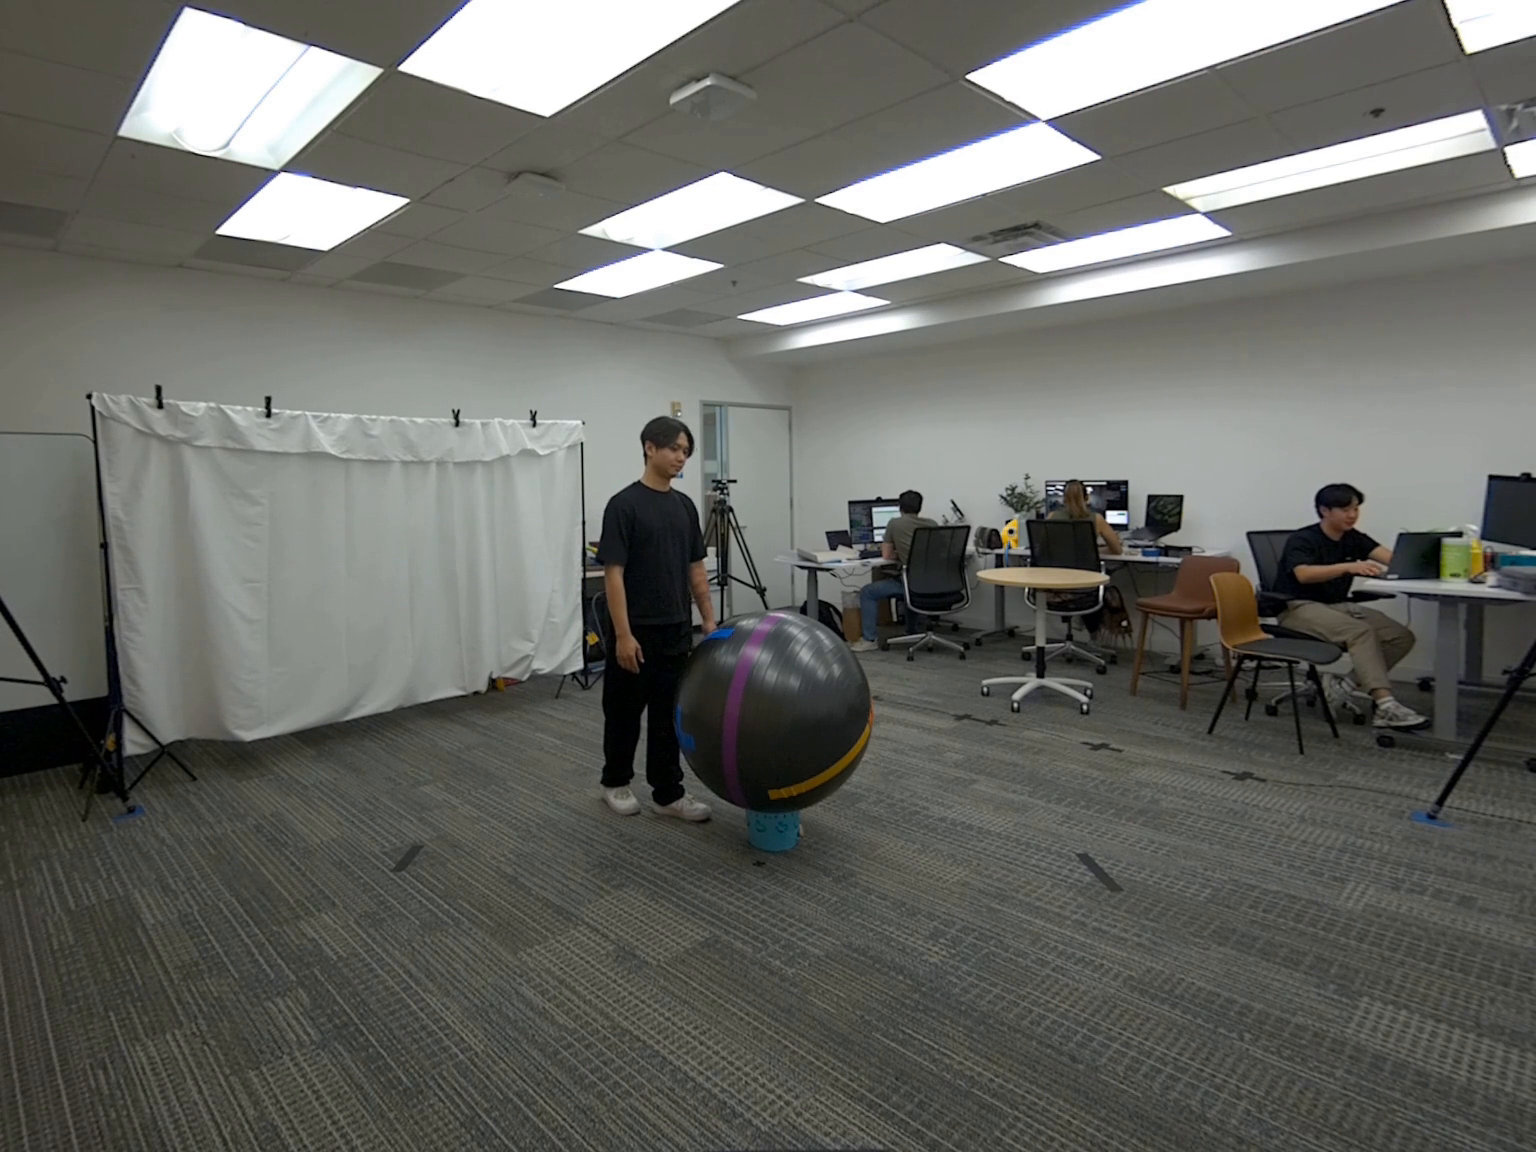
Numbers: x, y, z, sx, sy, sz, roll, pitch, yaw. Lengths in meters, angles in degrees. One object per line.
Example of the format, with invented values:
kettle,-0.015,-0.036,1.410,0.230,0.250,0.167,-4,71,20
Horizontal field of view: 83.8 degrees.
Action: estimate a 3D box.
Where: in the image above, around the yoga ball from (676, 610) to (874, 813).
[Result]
yoga ball,0.021,0.517,3.281,0.757,0.755,0.762,-1,5,-2
